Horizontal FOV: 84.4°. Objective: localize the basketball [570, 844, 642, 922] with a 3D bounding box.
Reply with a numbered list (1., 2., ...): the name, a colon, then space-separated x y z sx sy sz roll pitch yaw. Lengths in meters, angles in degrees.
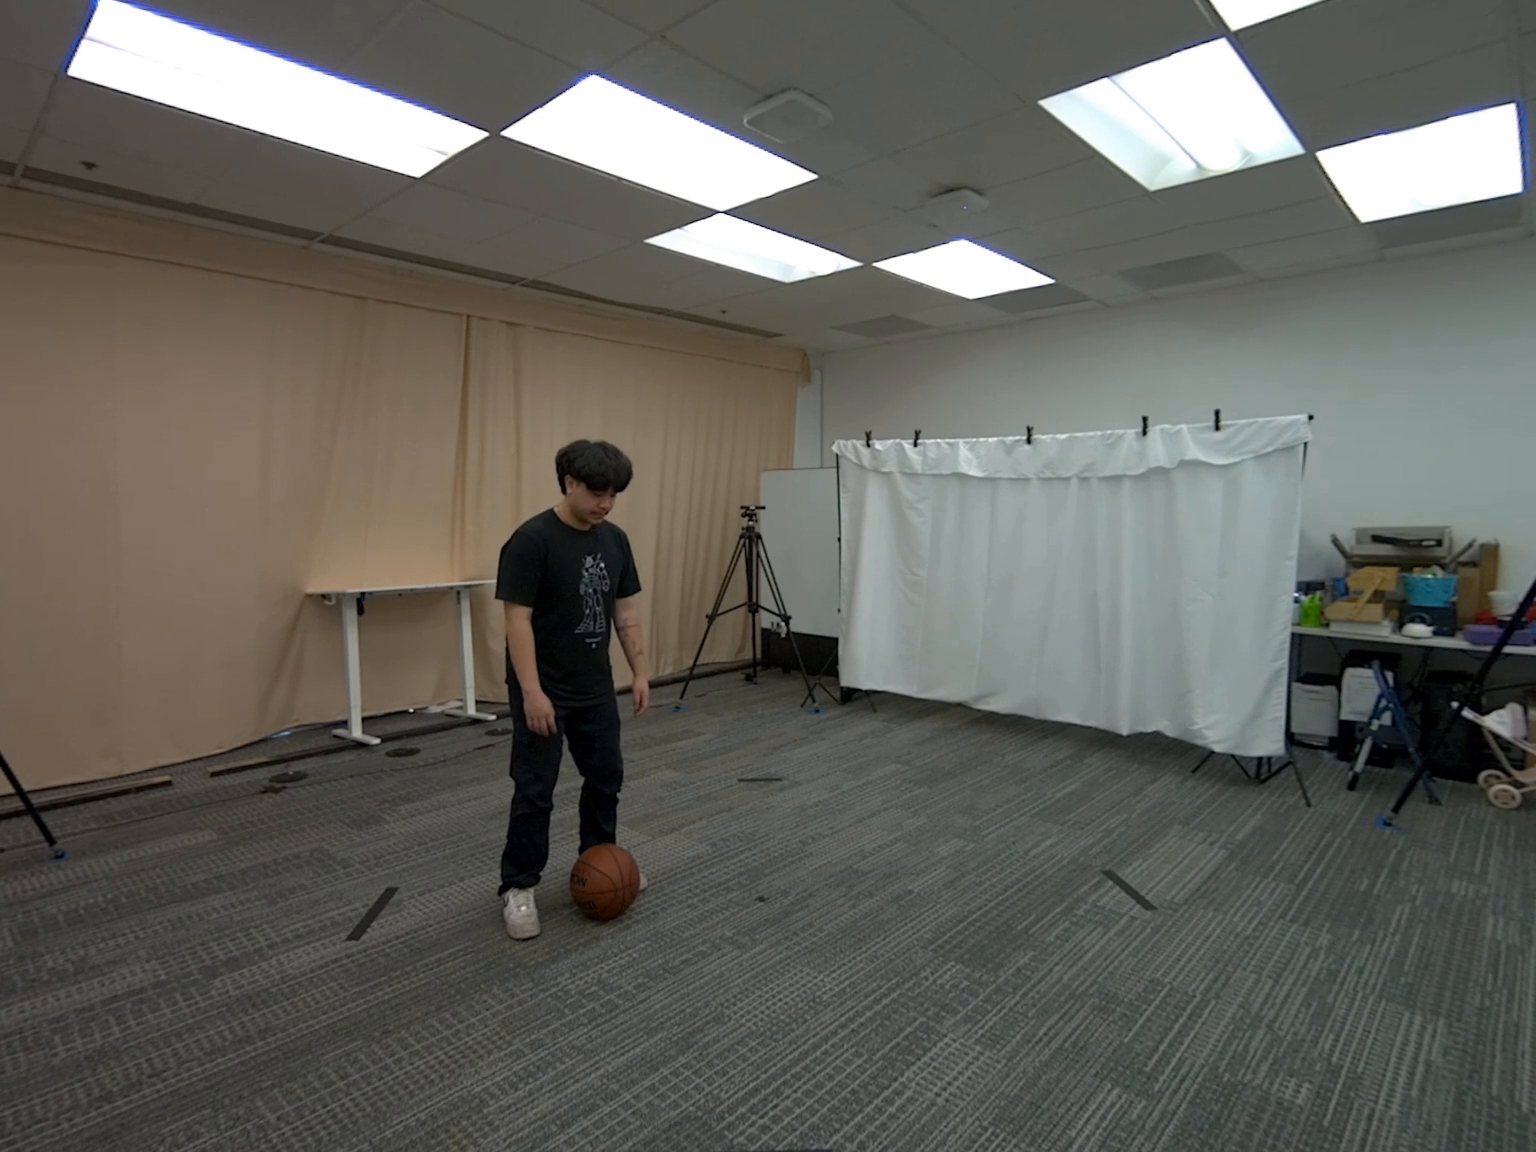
1. basketball: -0.545 1.038 2.871 0.236 0.235 0.237 0 4 -2
